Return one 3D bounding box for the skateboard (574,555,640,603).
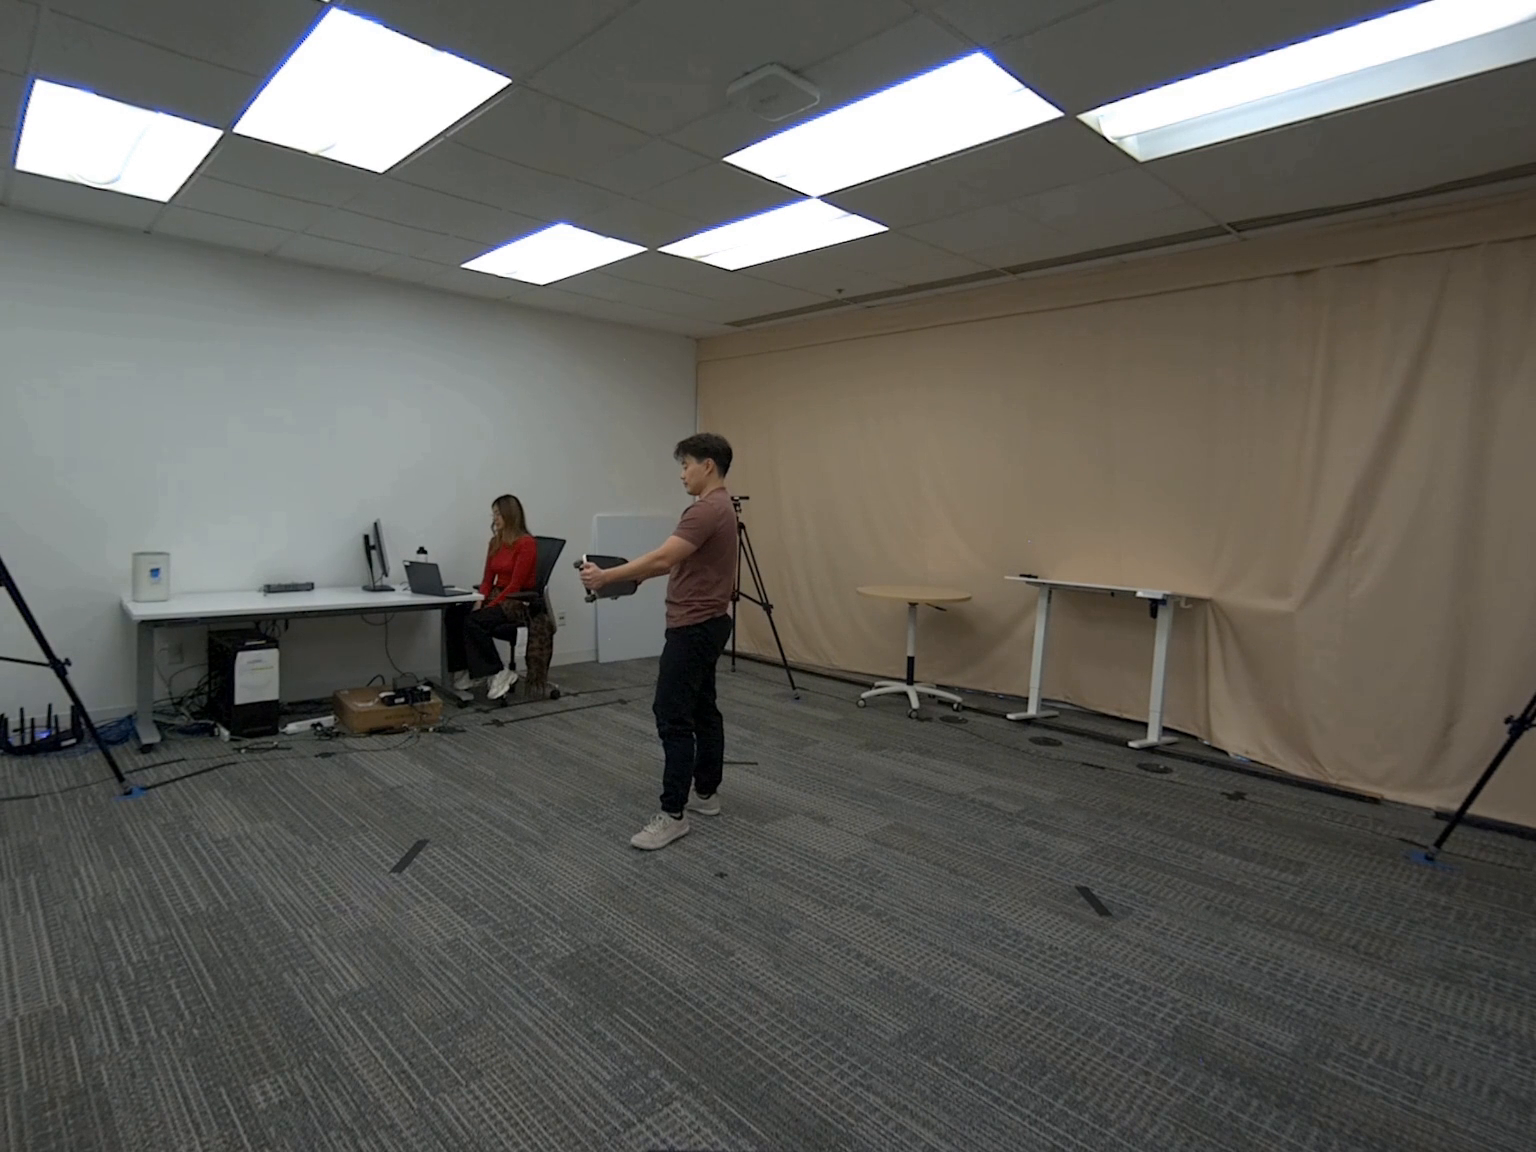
[{"bbox_3d":[-0.729,0.014,3.735,0.110,0.194,0.781,-20,-1,5],"label":"skateboard"}]
